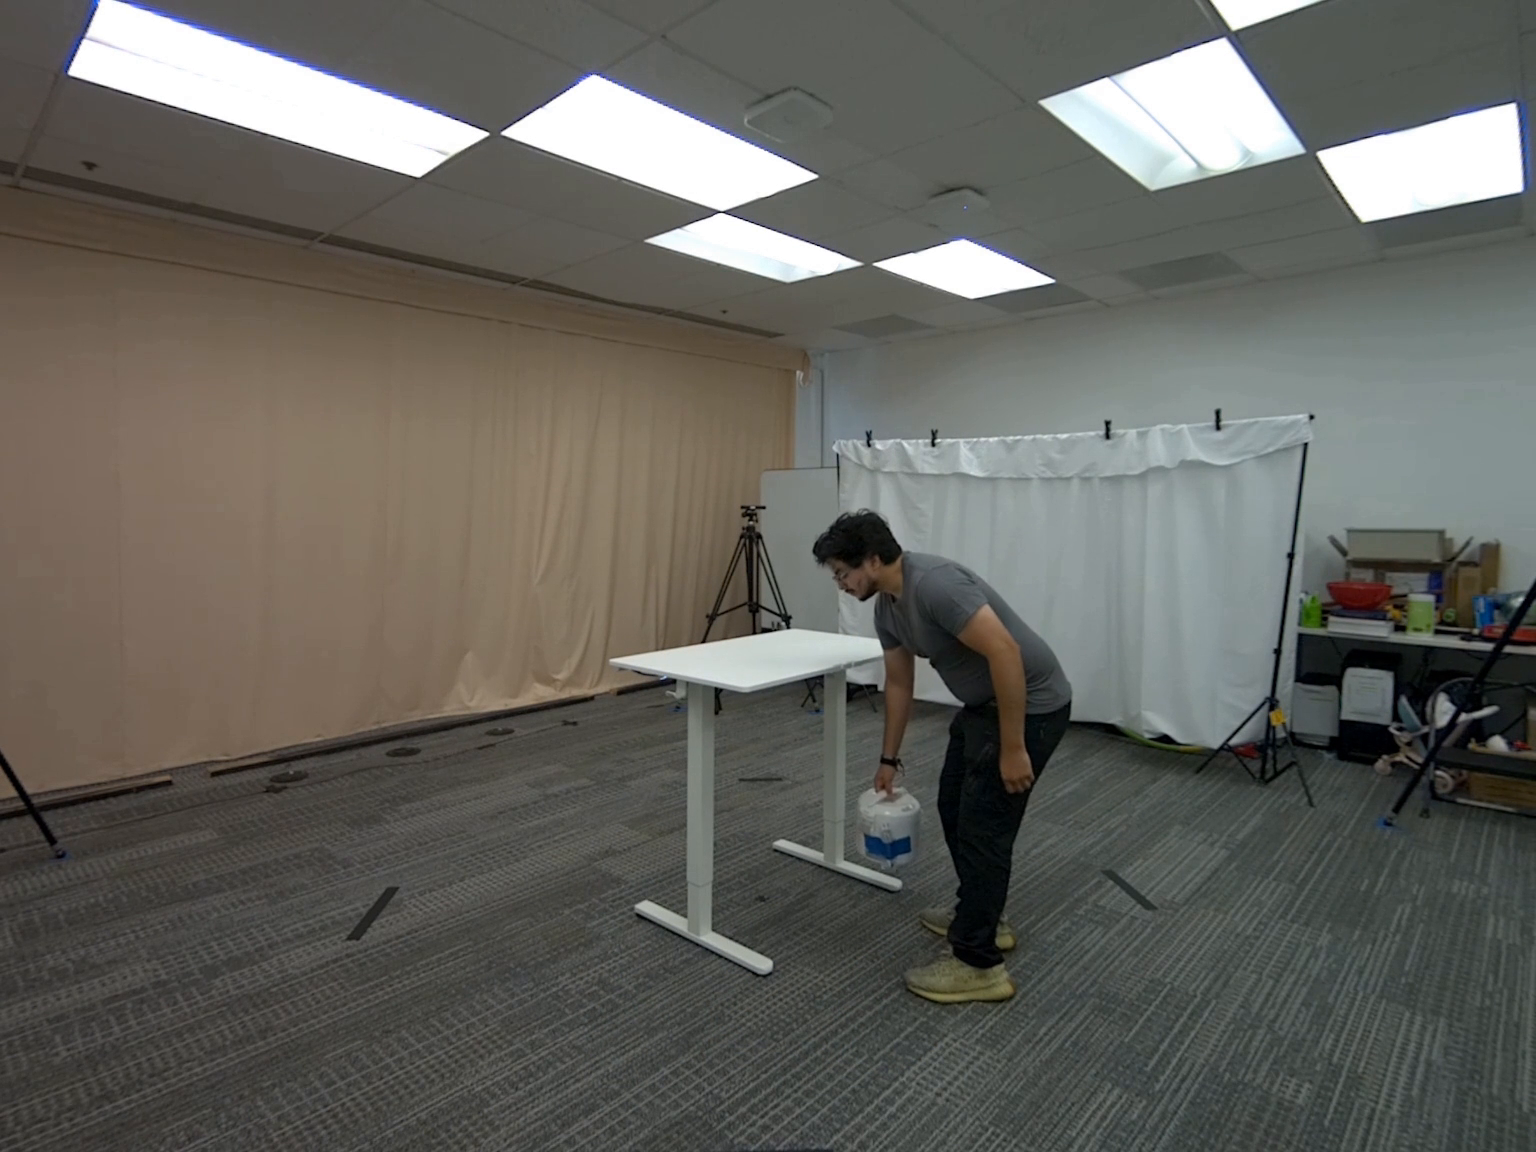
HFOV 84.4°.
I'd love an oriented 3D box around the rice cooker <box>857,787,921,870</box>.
[{"bbox_3d":[0.406,0.824,2.802,0.214,0.232,0.225,-5,10,-35],"label":"rice cooker"}]
